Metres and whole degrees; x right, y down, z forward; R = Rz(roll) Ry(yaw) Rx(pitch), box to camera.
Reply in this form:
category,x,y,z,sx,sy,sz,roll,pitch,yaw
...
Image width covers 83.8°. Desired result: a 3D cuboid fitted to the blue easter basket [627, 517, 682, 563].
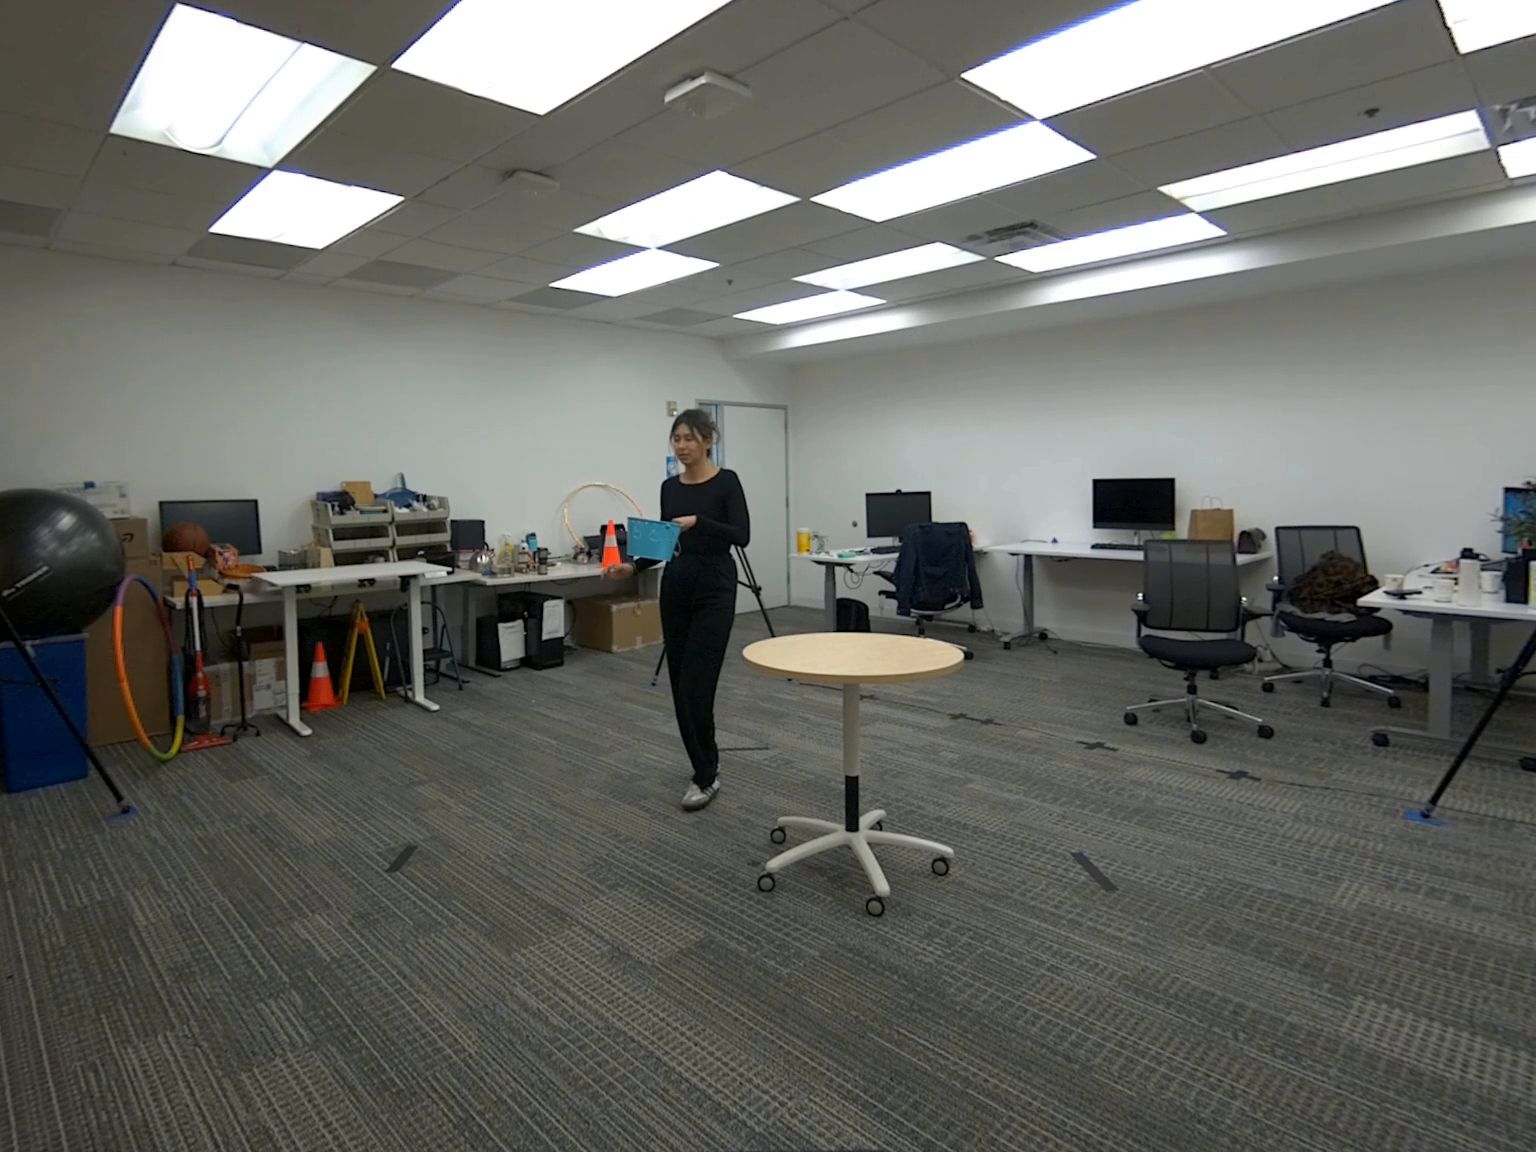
category,x,y,z,sx,sy,sz,roll,pitch,yaw
blue easter basket,-0.467,-0.149,3.496,0.243,0.156,0.244,5,1,-2
